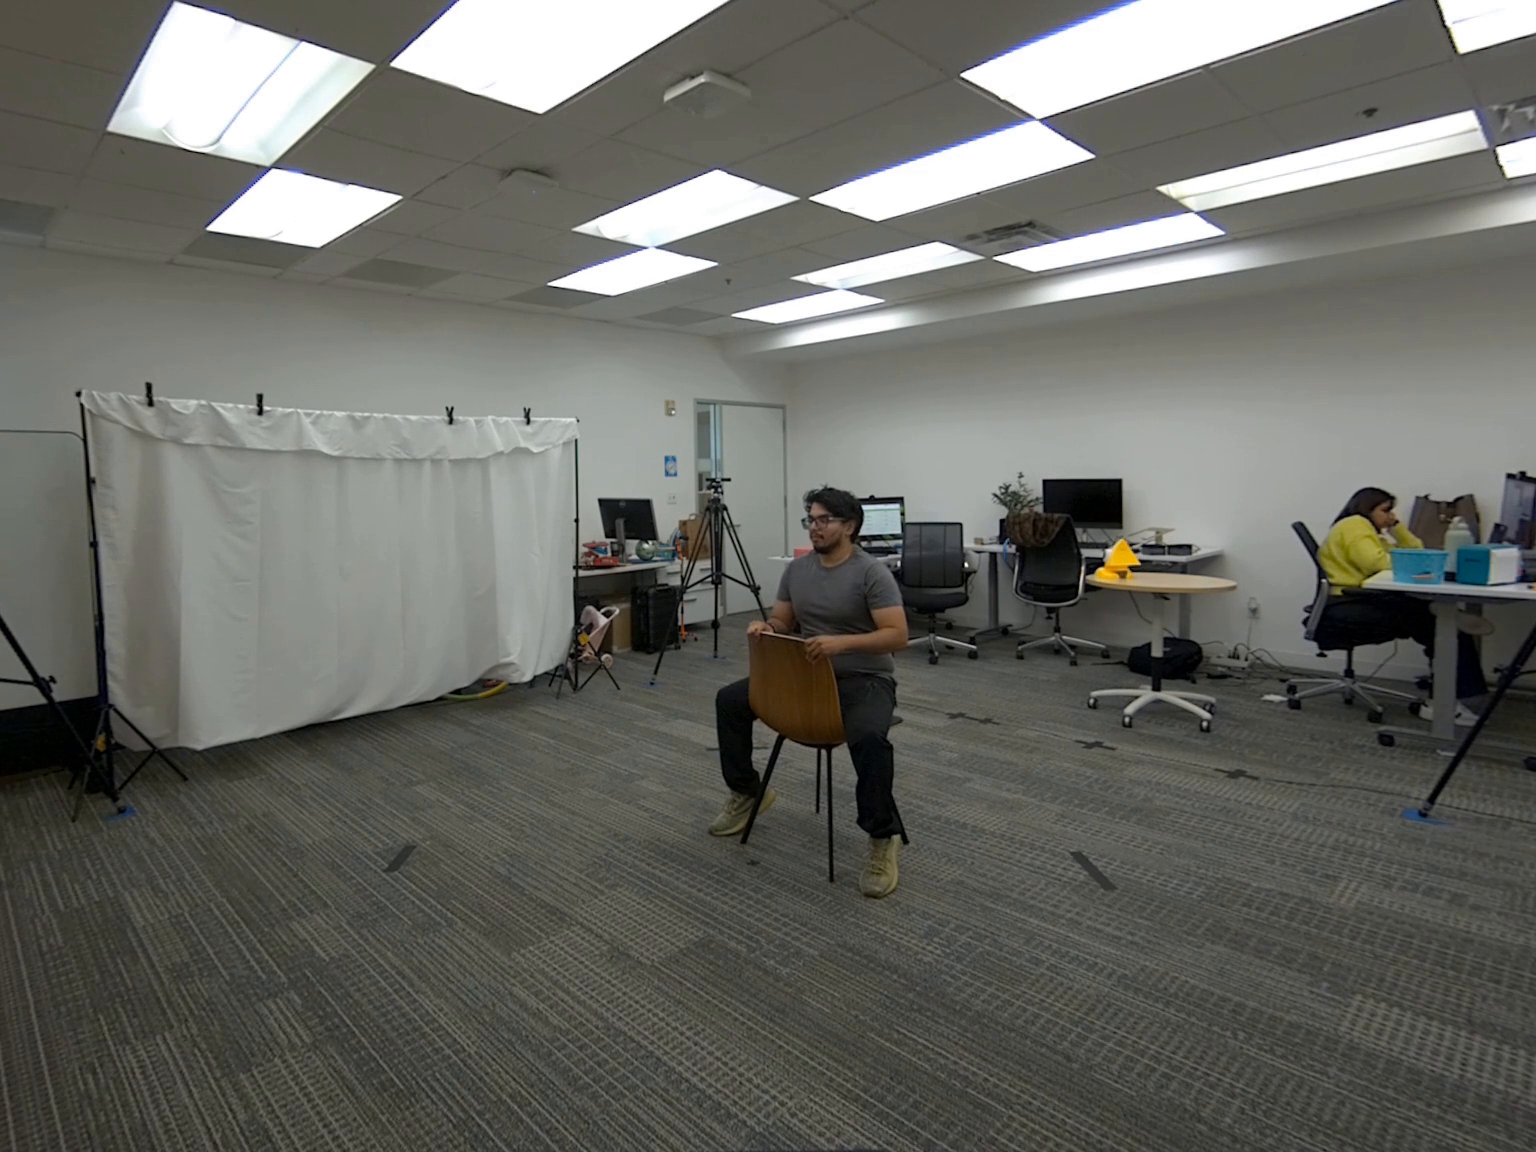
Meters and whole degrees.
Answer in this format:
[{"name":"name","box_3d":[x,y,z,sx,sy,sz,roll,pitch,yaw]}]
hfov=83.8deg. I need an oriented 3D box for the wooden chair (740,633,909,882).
[{"name":"wooden chair","box_3d":[0.216,0.599,3.235,0.511,0.872,0.493,-10,9,-44]}]
